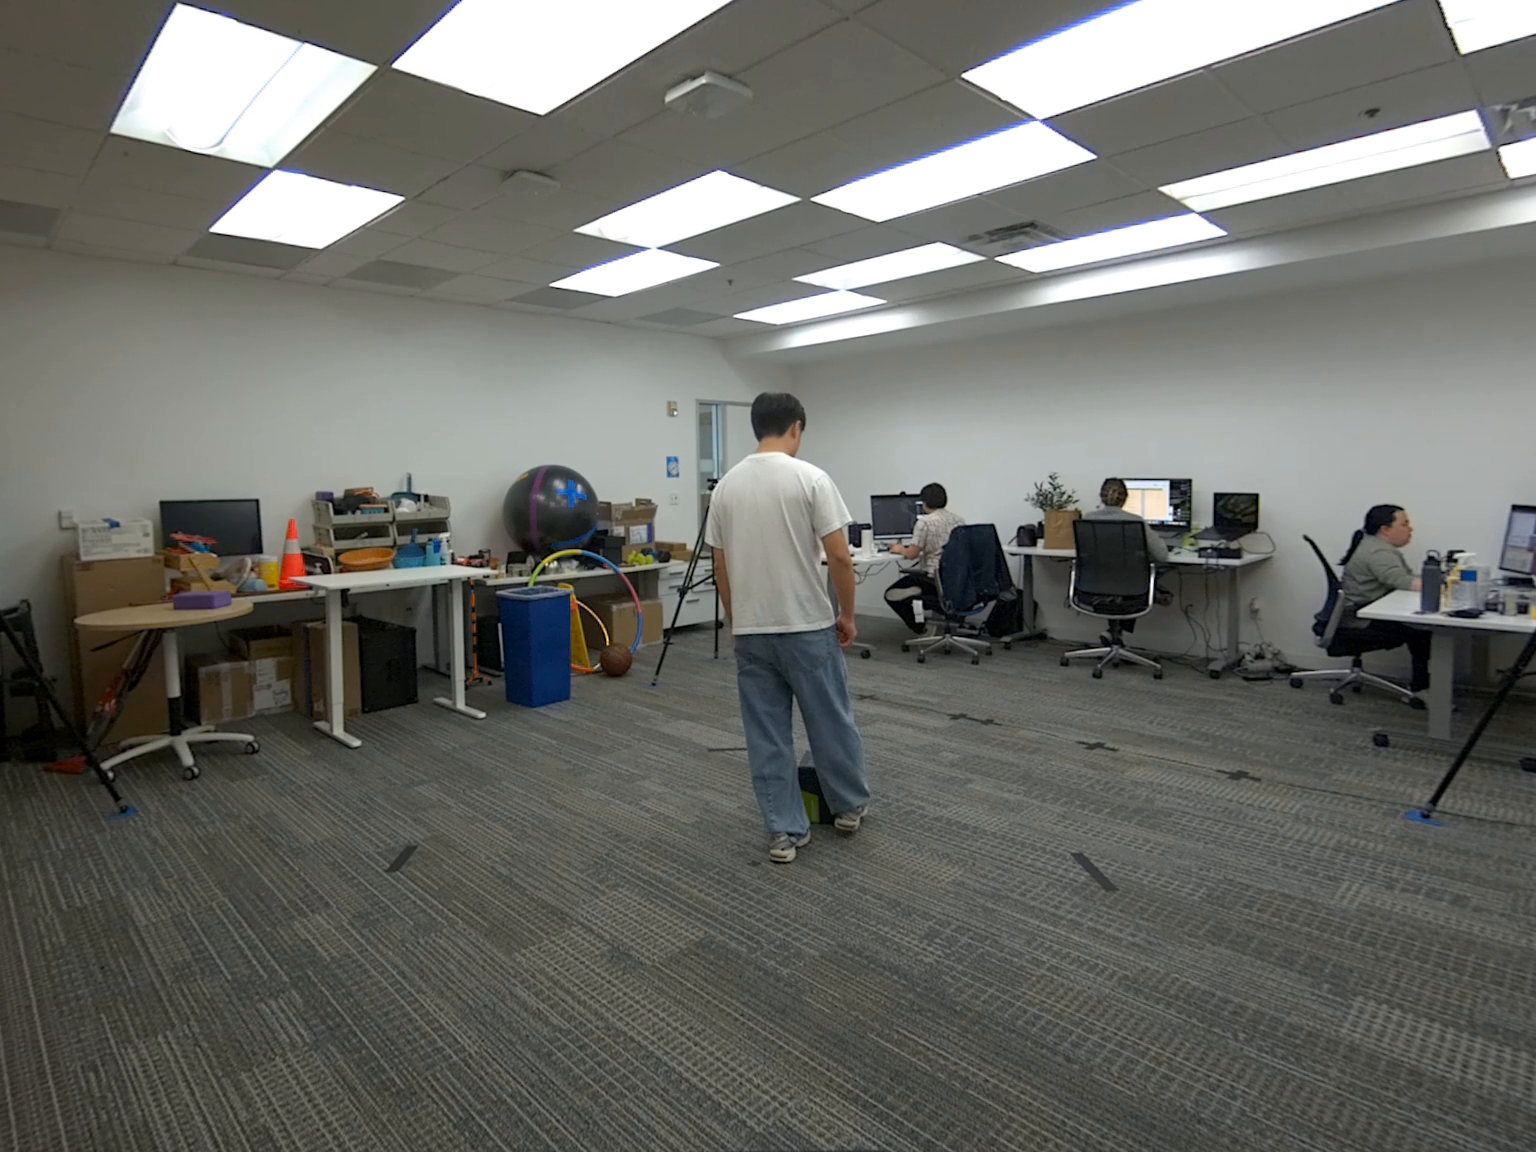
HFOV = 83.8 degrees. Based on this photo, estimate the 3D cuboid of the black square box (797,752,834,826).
[{"bbox_3d":[0.222,0.875,3.544,0.158,0.227,0.215,-1,4,13],"label":"black square box"}]
